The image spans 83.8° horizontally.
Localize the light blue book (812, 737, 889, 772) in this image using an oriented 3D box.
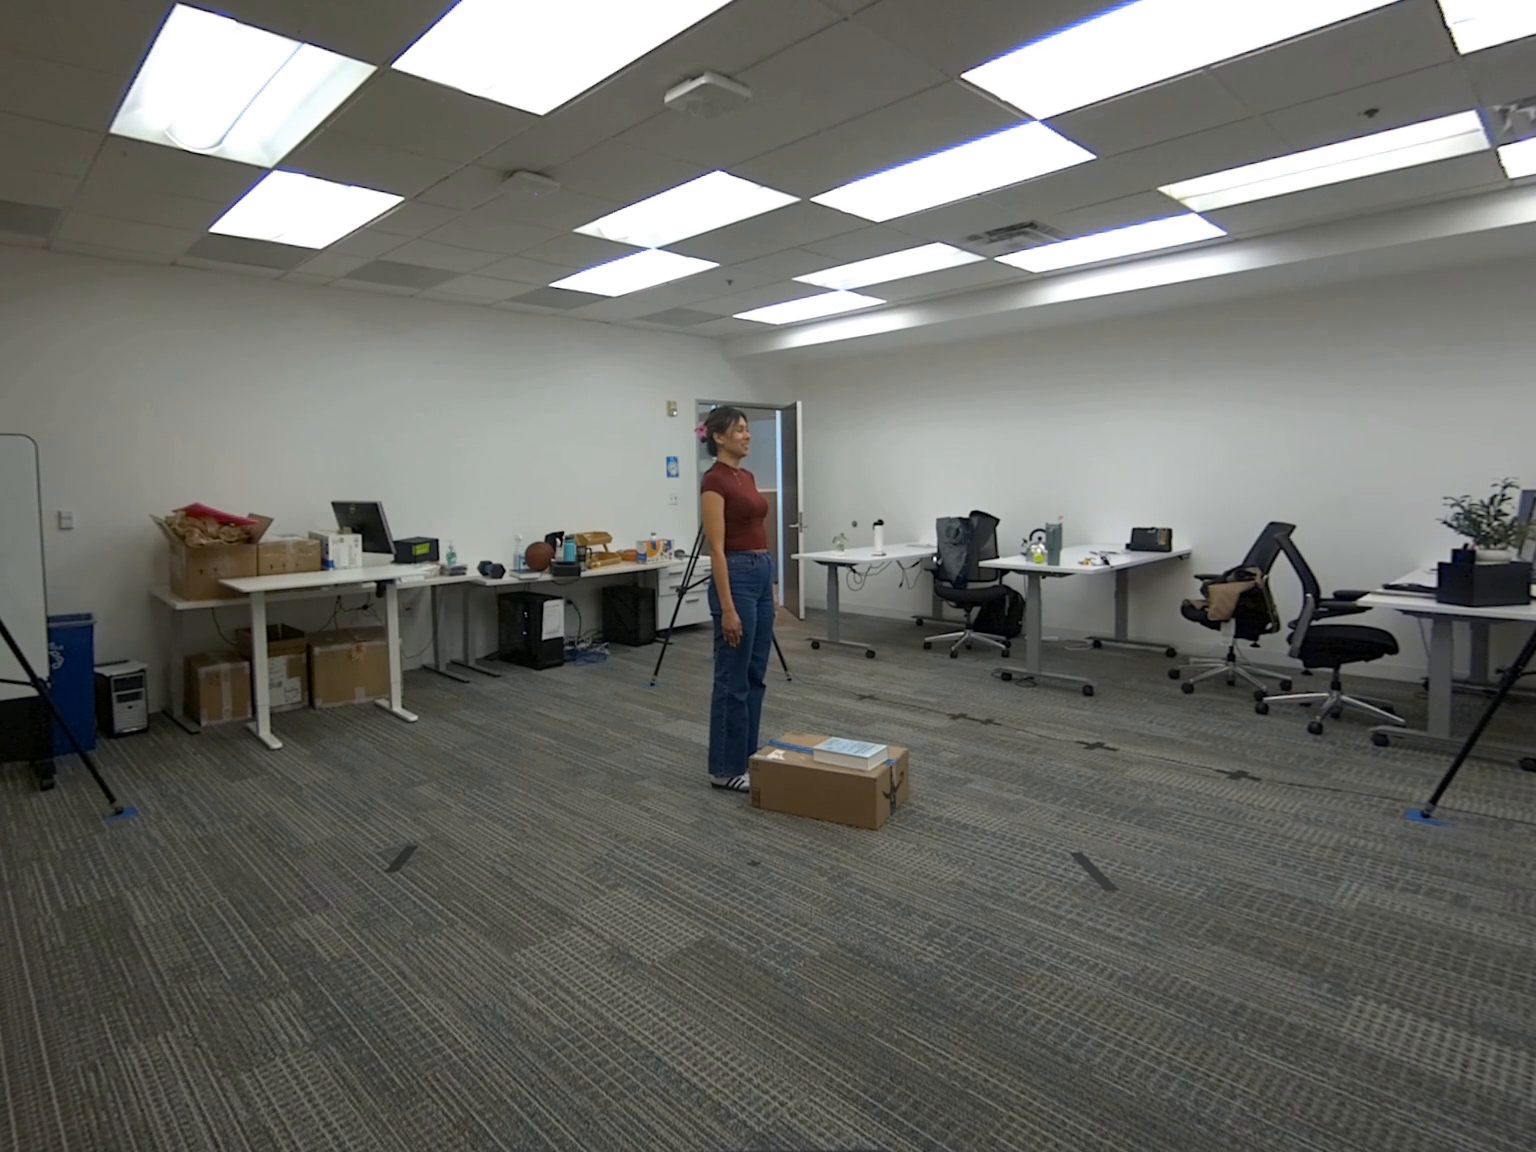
[{"bbox_3d":[0.344,0.738,3.595,0.268,0.059,0.187,2,7,35],"label":"light blue book"}]
